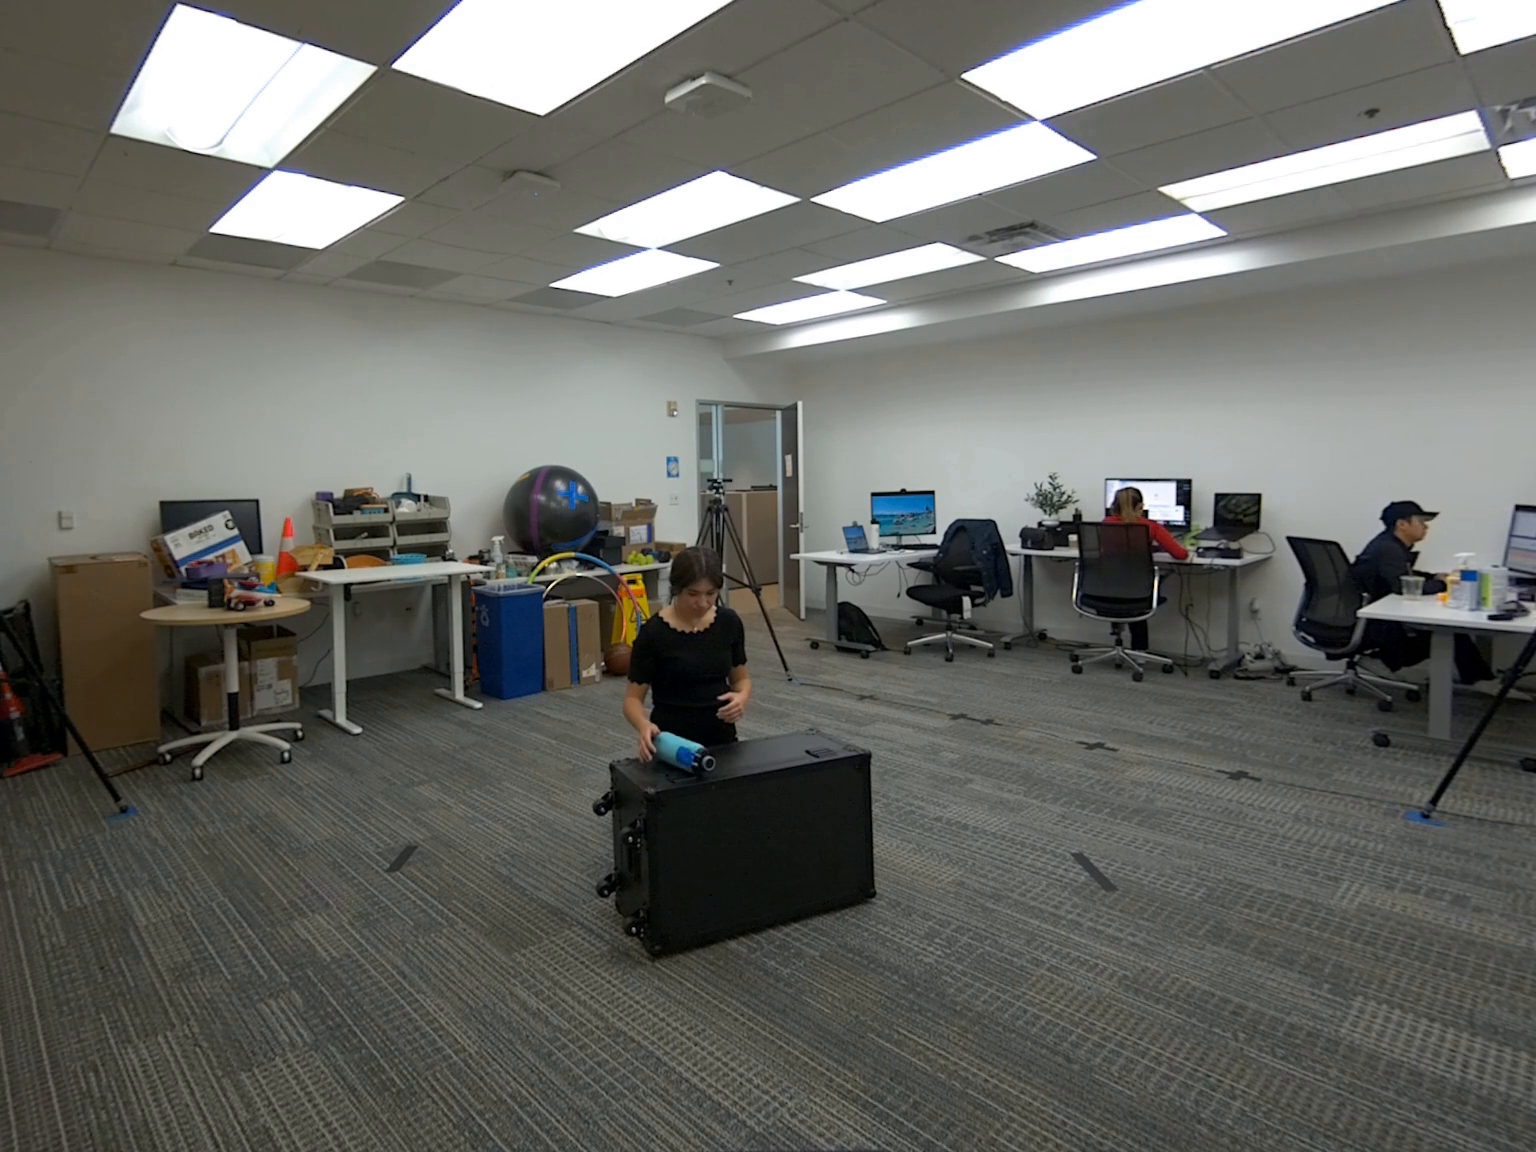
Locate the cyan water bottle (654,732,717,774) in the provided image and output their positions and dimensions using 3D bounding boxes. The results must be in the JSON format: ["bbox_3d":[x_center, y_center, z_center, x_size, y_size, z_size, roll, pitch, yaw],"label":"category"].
[{"bbox_3d":[-0.264,0.563,2.682,0.090,0.092,0.290,-4,3,-30],"label":"cyan water bottle"}]
